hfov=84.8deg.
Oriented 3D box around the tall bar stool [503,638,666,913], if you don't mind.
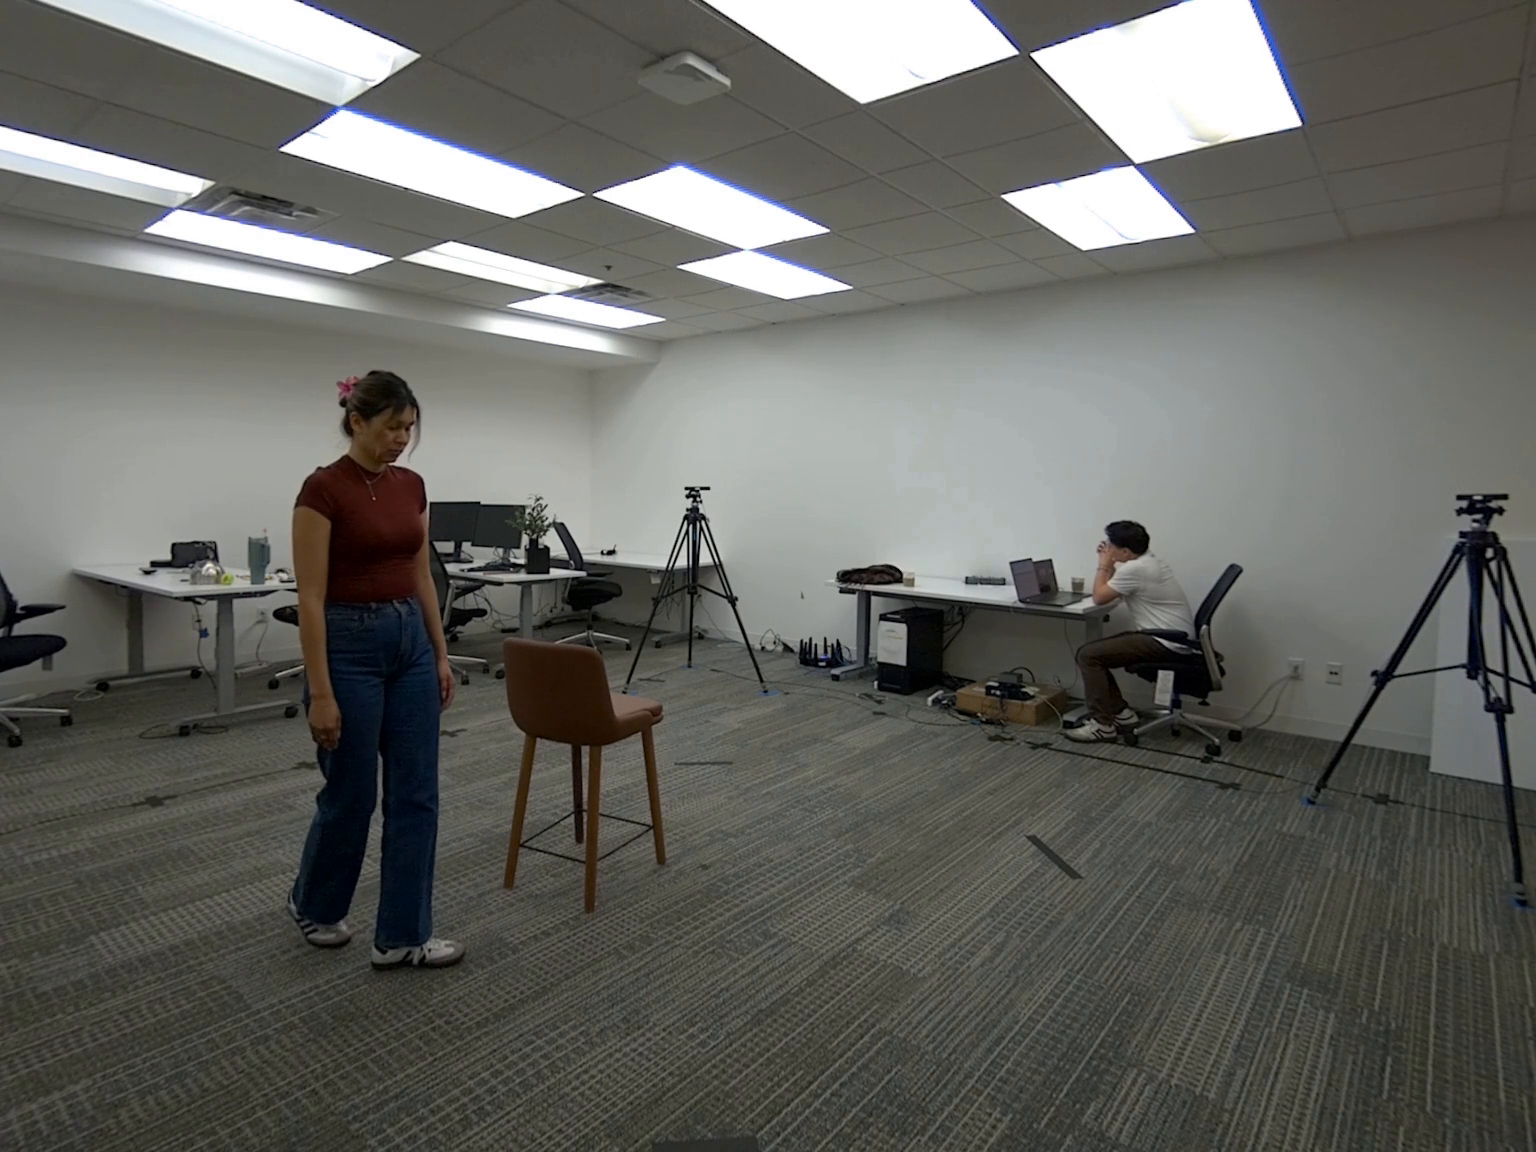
[{"bbox_3d":[-0.662,0.632,3.019,0.469,0.886,0.457,2,5,27],"label":"tall bar stool"}]
